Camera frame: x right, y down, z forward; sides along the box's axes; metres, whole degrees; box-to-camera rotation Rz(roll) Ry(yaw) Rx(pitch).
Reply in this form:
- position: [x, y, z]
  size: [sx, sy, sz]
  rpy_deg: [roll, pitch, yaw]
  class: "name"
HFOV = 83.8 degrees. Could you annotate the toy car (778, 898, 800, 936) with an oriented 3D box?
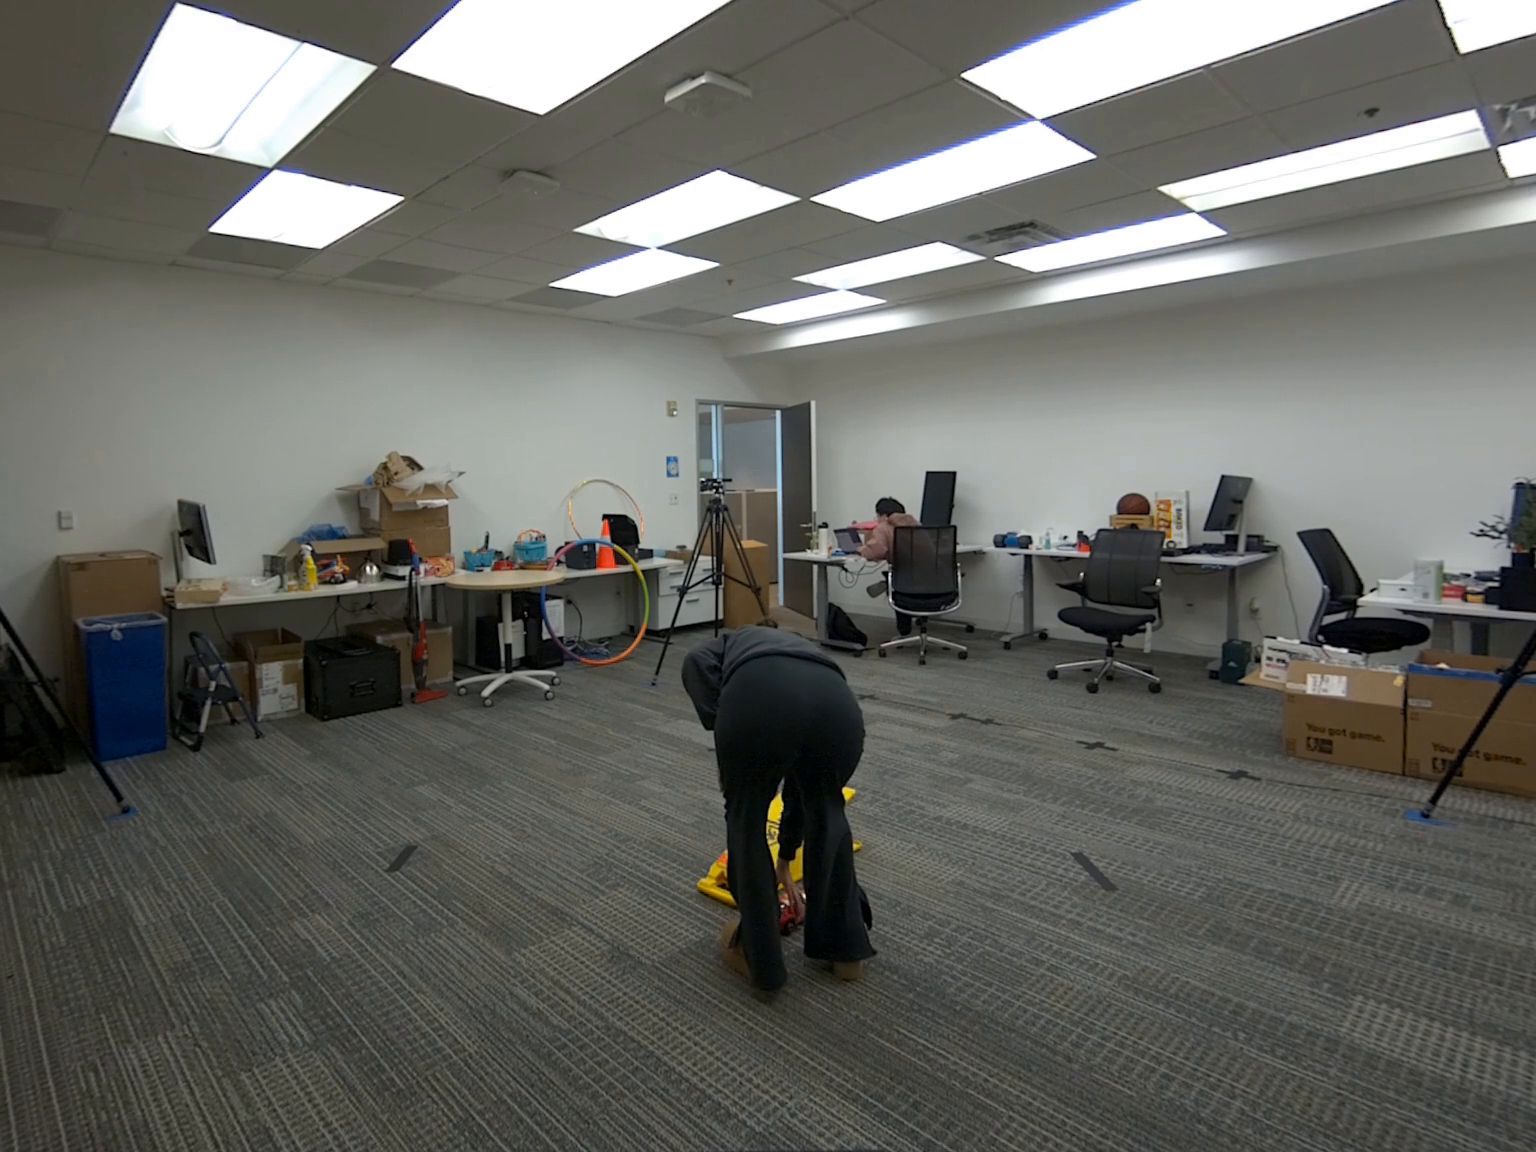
- position: [0.069, 1.064, 2.676]
  size: [0.246, 0.083, 0.134]
  rpy_deg: [7, 0, -42]
  class: "toy car"
